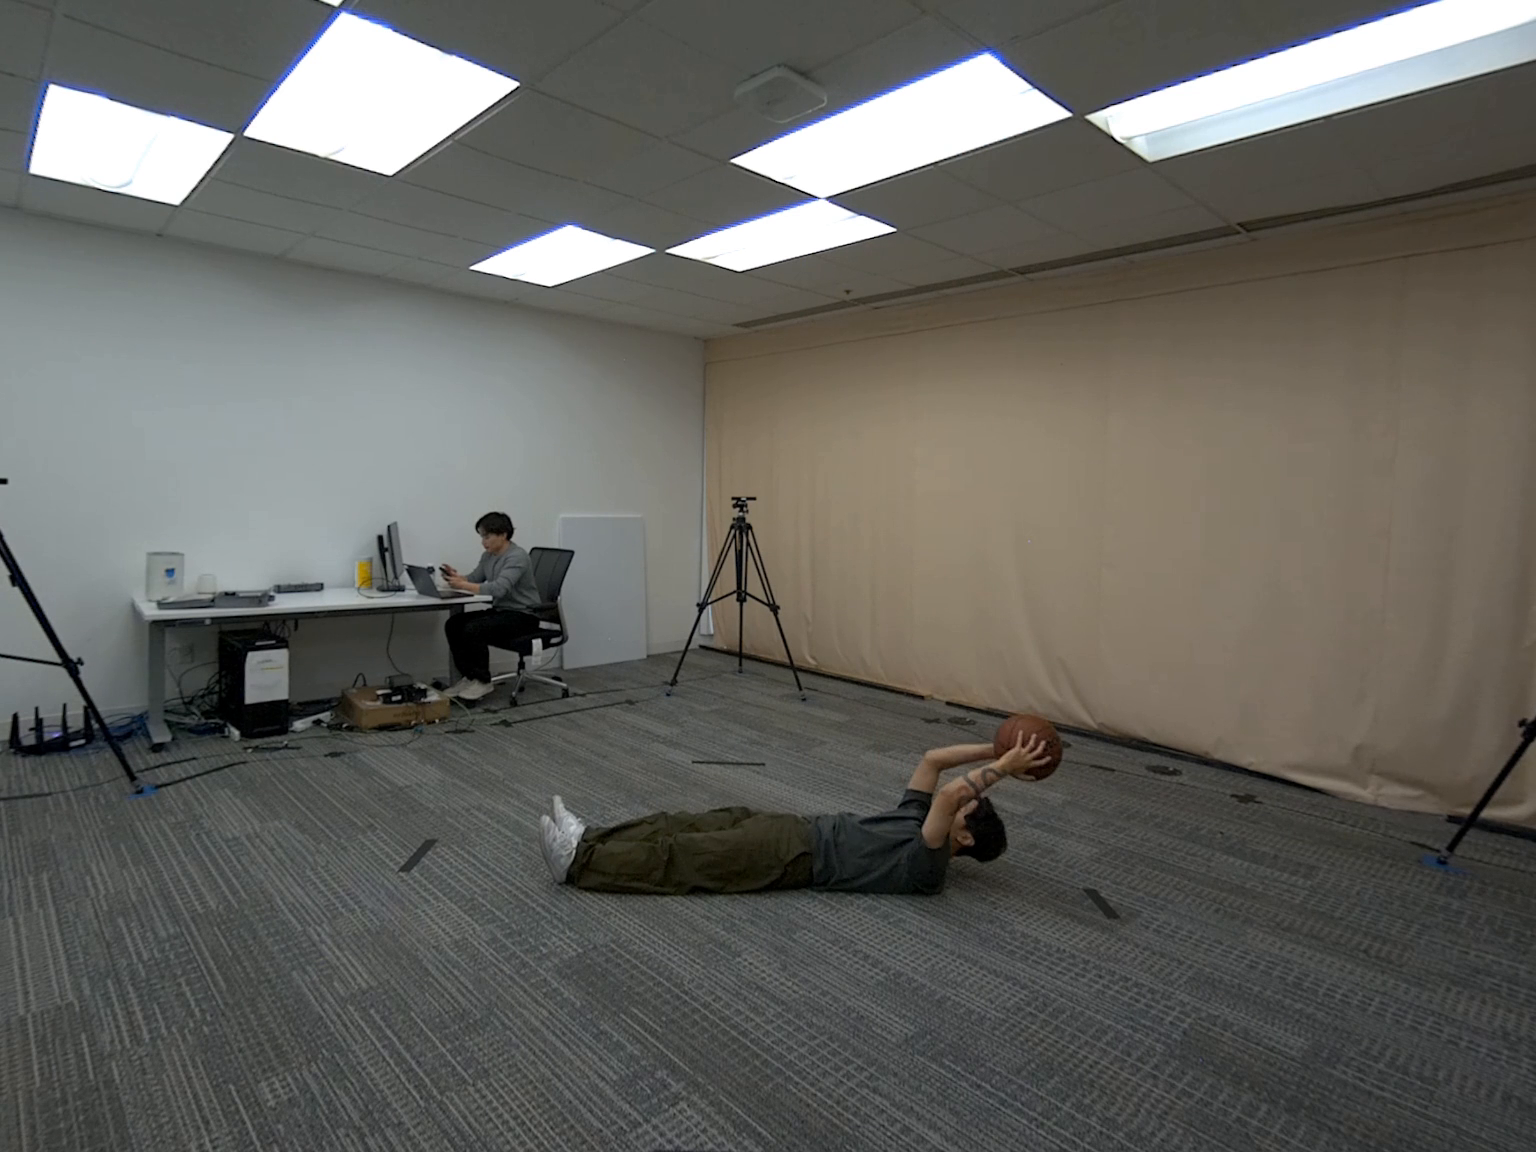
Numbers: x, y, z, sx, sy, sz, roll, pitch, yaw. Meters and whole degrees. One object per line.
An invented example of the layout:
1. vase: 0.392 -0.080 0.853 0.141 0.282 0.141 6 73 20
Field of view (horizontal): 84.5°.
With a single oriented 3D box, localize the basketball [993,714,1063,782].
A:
1. basketball: 0.933 0.624 3.063 0.236 0.235 0.237 1 4 -1
